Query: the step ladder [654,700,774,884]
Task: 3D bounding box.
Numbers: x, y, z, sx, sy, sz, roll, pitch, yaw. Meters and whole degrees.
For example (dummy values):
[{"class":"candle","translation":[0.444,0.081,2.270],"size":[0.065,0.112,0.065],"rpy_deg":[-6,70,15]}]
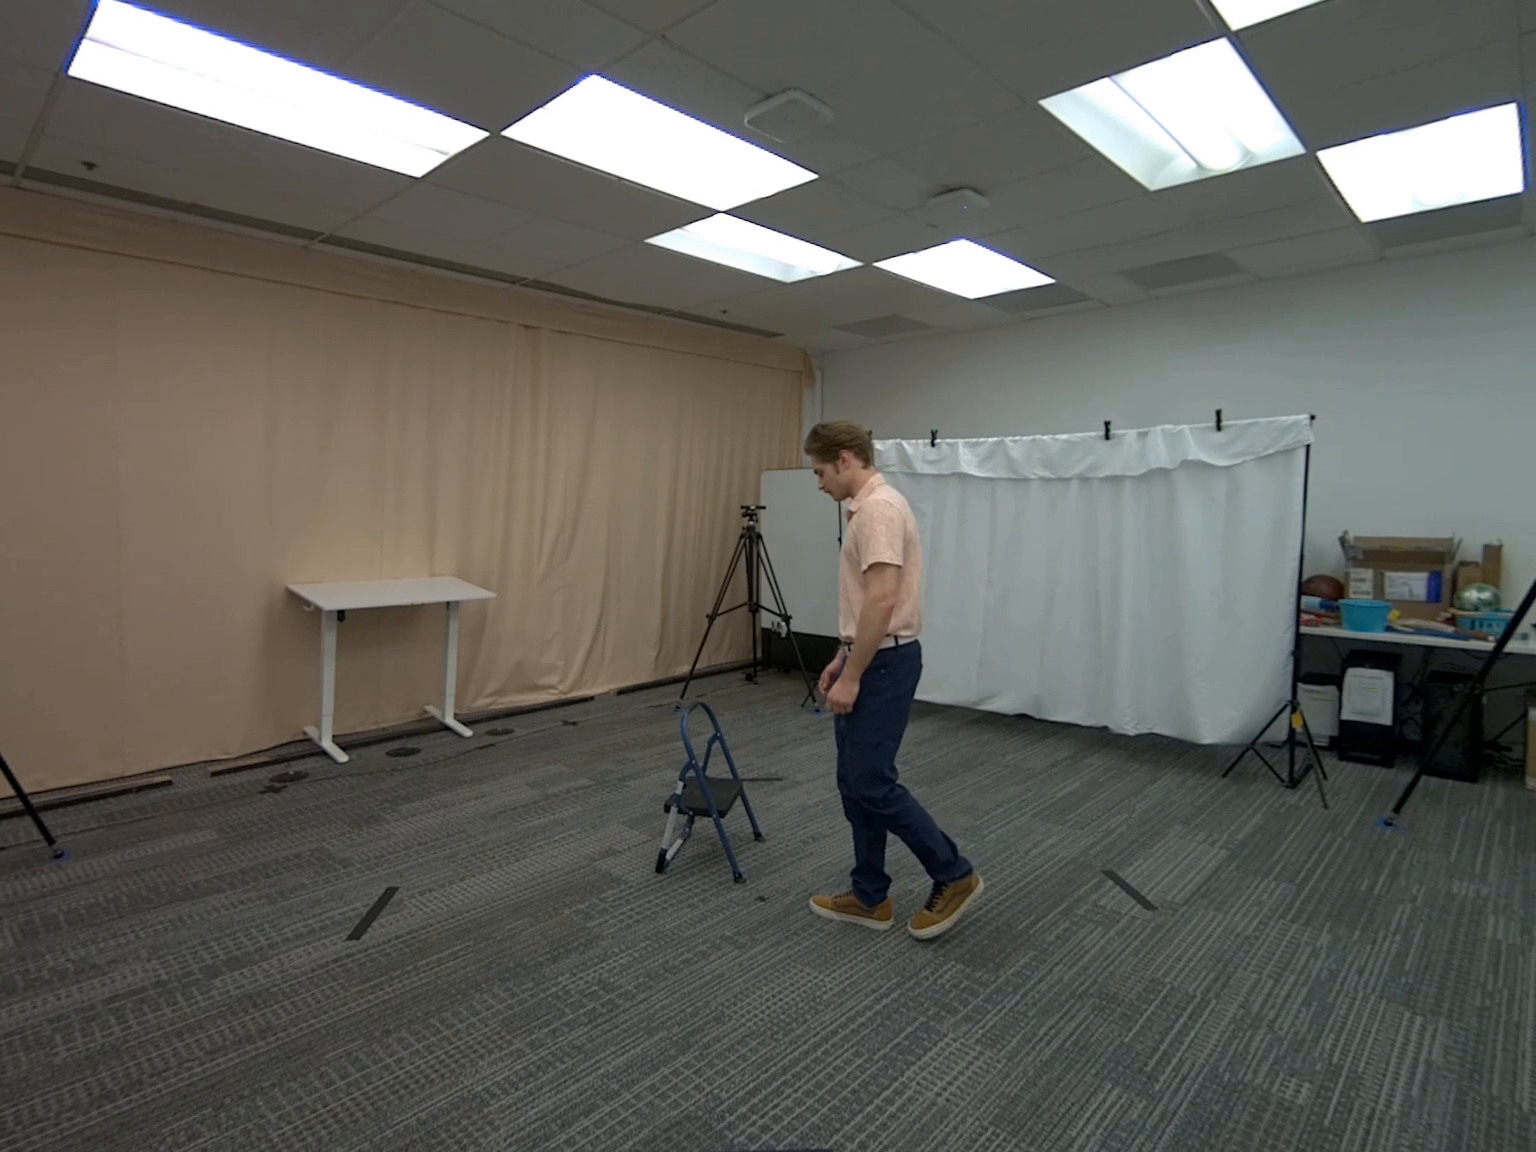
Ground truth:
[{"class":"step ladder","translation":[-0.224,0.812,3.338],"size":[0.354,0.605,0.425],"rpy_deg":[0,3,12]}]
